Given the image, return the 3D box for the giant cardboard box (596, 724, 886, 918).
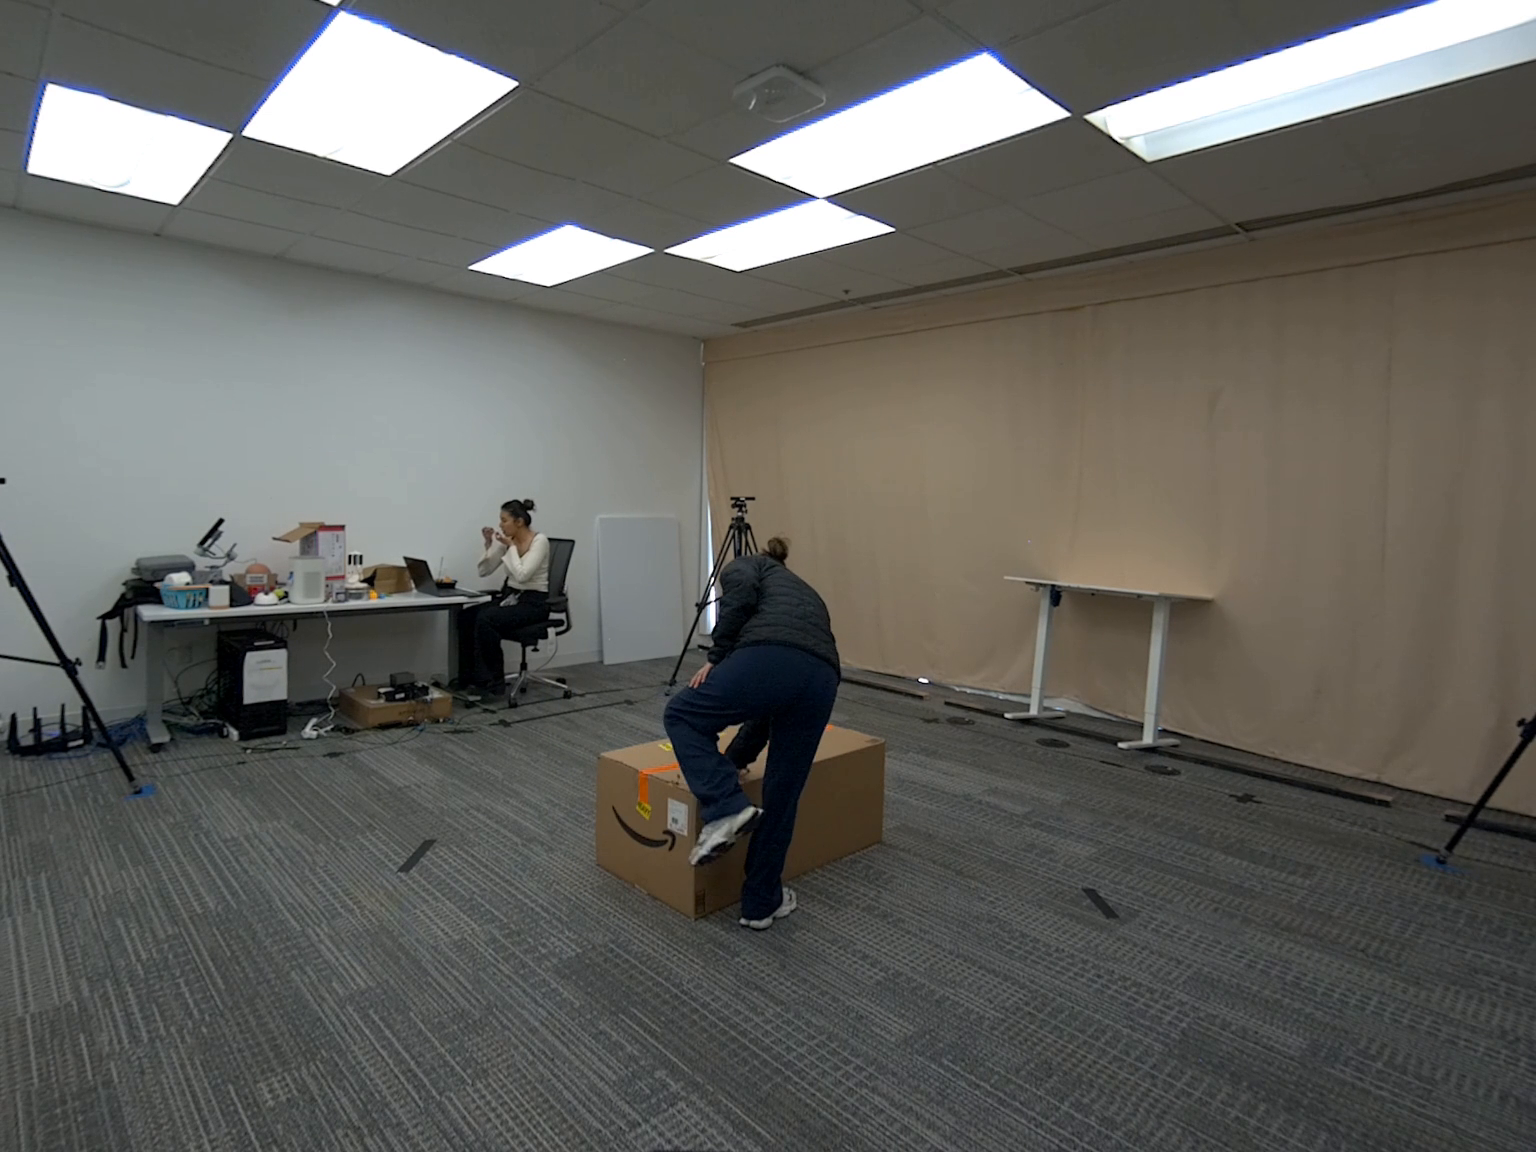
[{"bbox_3d":[-0.089,0.883,3.297,1.003,0.445,0.599,-2,7,-44],"label":"giant cardboard box"}]
